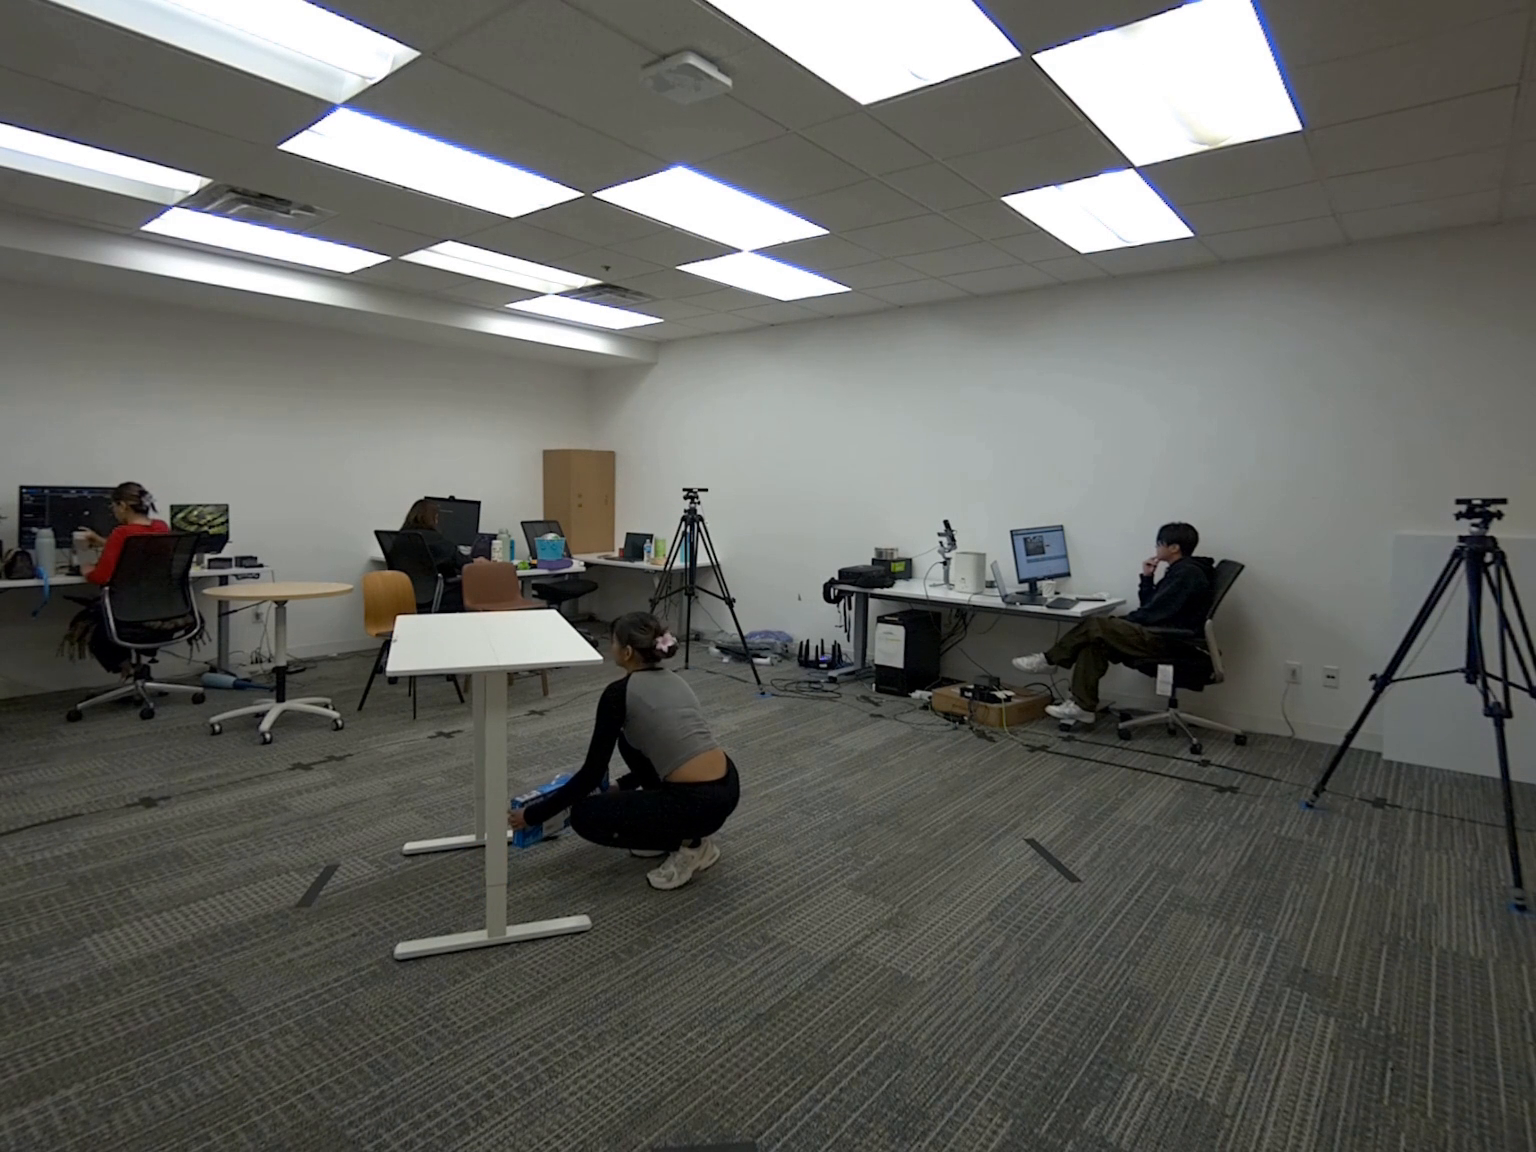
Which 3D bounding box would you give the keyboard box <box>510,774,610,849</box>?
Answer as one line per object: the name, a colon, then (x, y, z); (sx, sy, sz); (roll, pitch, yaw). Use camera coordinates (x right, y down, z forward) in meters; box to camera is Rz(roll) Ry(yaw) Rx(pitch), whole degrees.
keyboard box: (-0.783, 0.860, 3.211); (0.061, 0.174, 0.426); (4, 10, 36)
